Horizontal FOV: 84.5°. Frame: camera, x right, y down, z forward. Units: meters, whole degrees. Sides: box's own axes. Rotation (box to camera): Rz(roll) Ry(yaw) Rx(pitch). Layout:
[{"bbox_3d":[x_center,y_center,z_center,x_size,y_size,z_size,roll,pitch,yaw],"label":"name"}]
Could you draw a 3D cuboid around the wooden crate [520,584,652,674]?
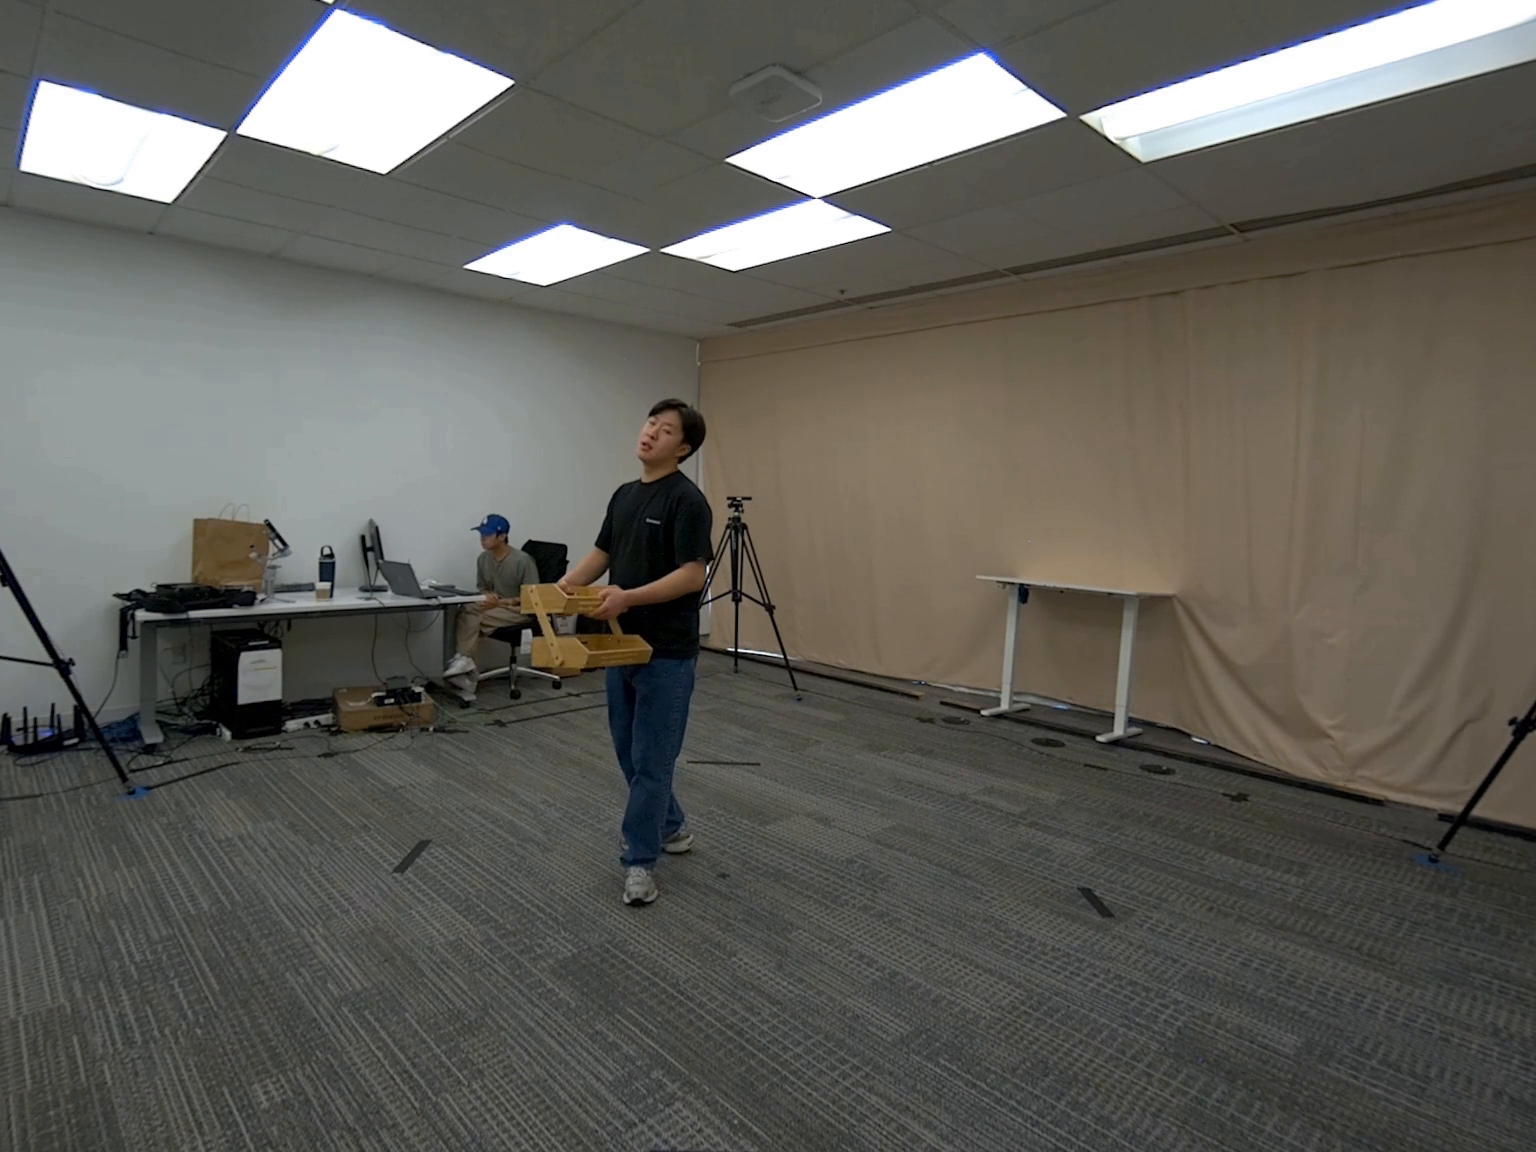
[{"bbox_3d":[-0.592,0.155,2.741,0.308,0.274,0.317,-4,-5,33],"label":"wooden crate"}]
